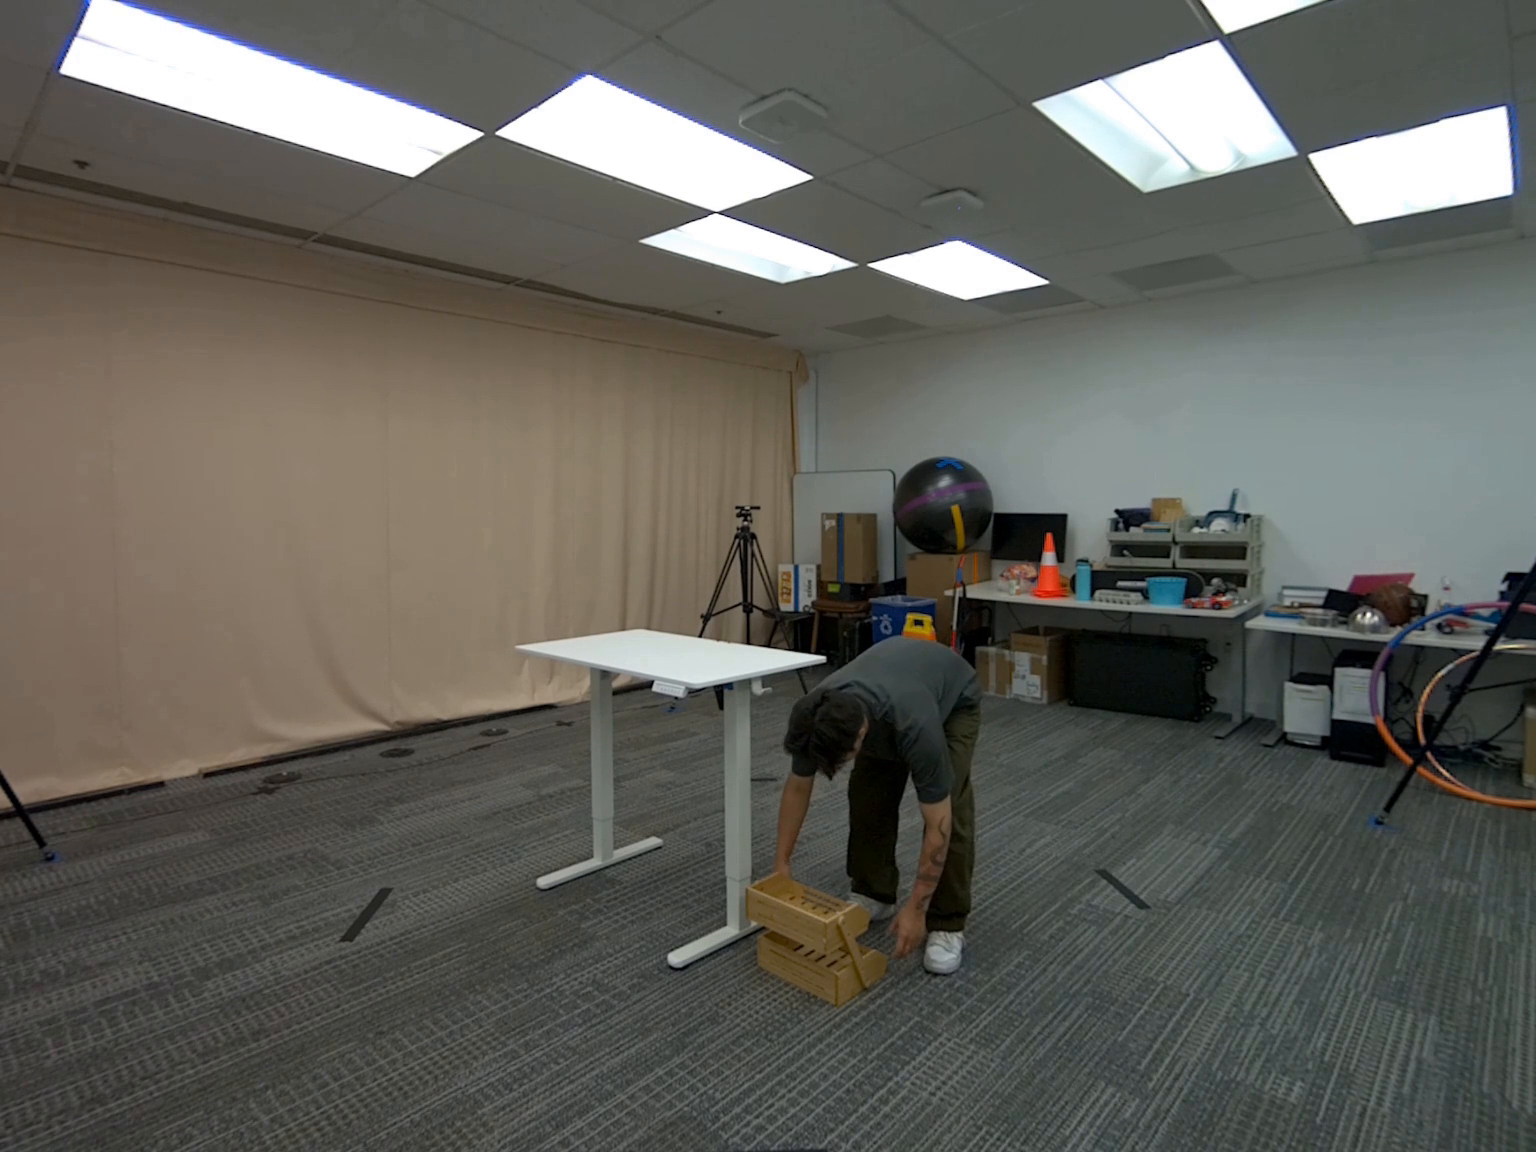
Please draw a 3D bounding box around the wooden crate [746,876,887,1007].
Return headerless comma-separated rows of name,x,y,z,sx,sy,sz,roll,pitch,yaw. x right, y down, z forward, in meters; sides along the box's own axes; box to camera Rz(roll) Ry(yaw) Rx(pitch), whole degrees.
wooden crate,0.153,1.052,2.511,0.335,0.273,0.293,4,5,43
